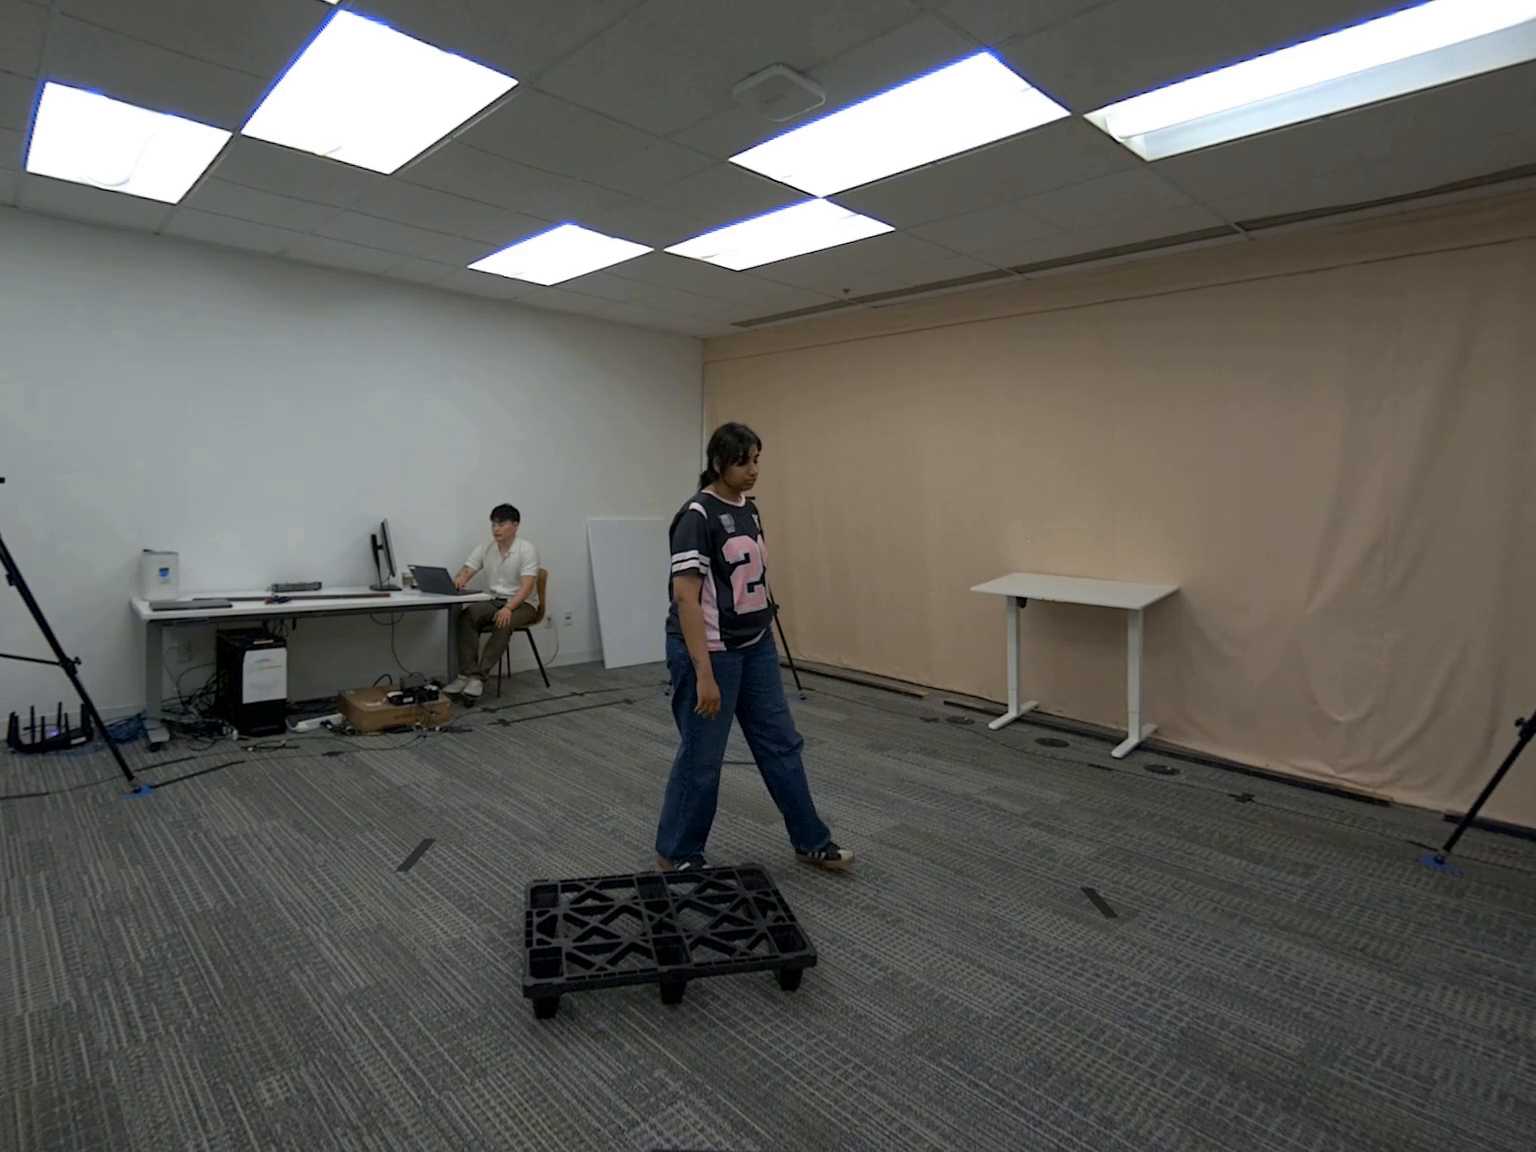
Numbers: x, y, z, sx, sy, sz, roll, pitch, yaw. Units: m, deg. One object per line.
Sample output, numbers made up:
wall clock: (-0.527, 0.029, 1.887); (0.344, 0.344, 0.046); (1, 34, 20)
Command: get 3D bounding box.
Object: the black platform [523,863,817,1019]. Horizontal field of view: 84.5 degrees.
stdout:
black platform: (-0.326, 1.089, 2.524); (0.797, 0.143, 0.614); (0, 6, -14)
